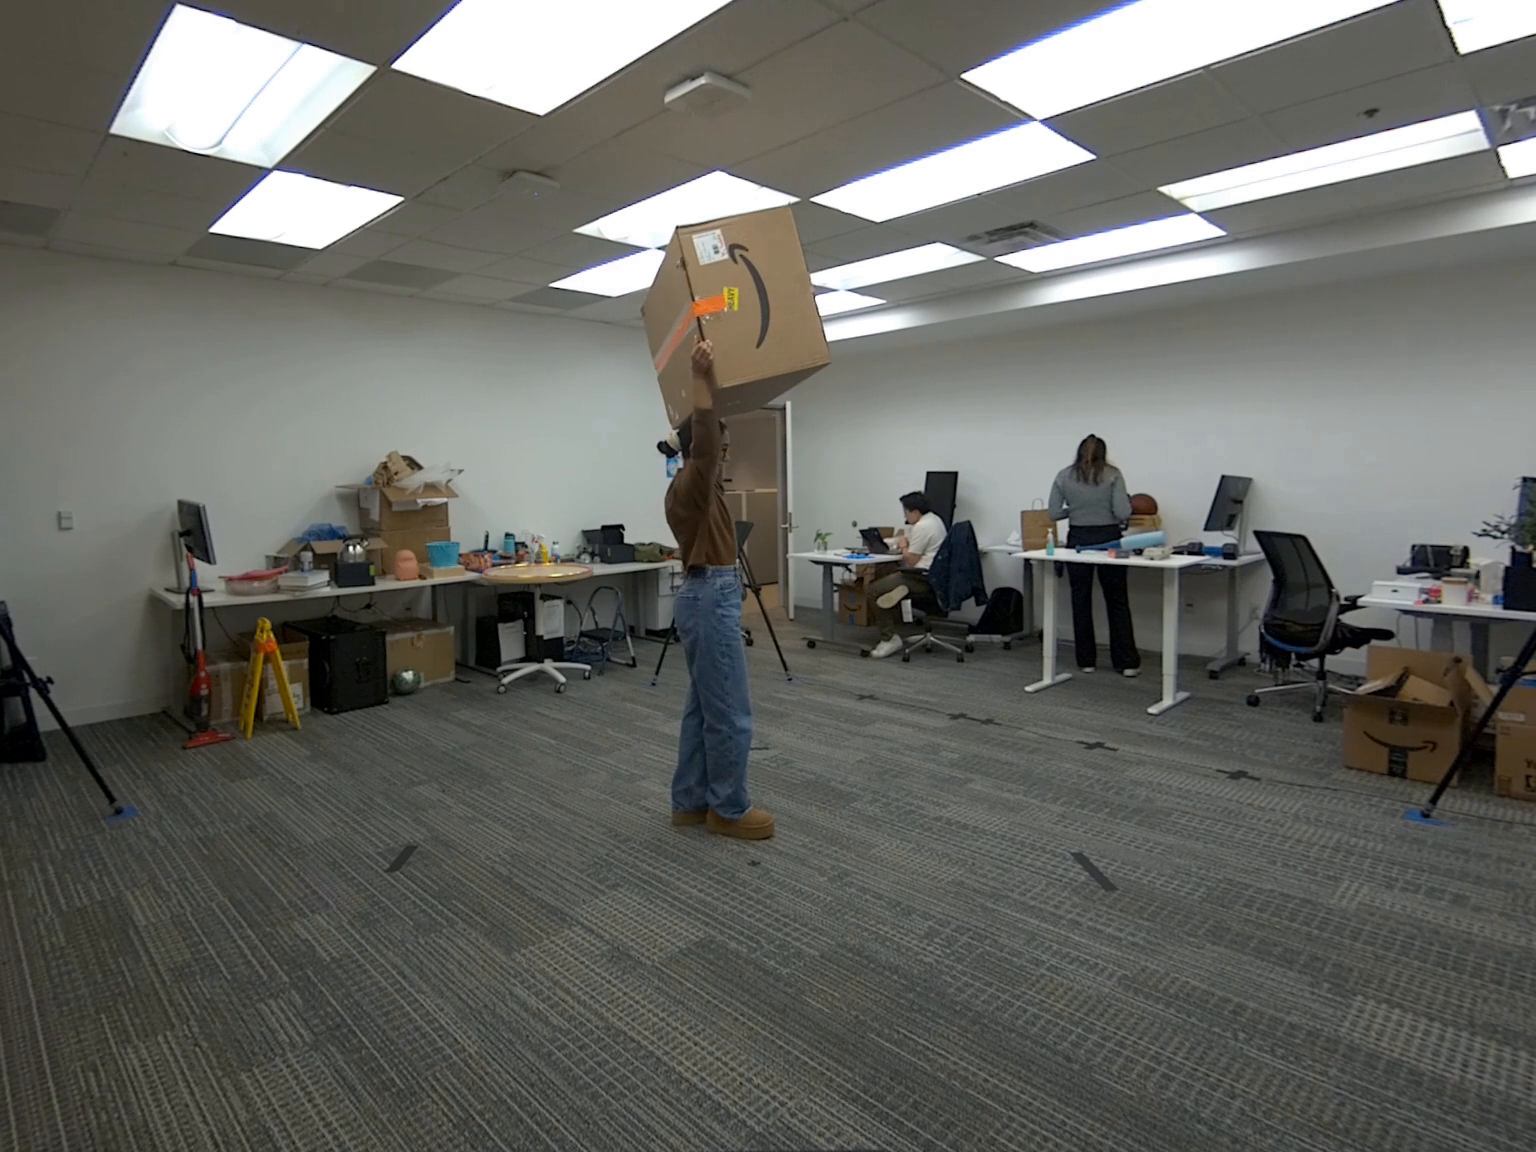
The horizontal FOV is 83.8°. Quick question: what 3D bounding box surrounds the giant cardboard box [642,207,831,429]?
[{"bbox_3d":[-0.178,-0.978,3.430,0.422,0.575,1.039,-16,5,-14],"label":"giant cardboard box"}]
